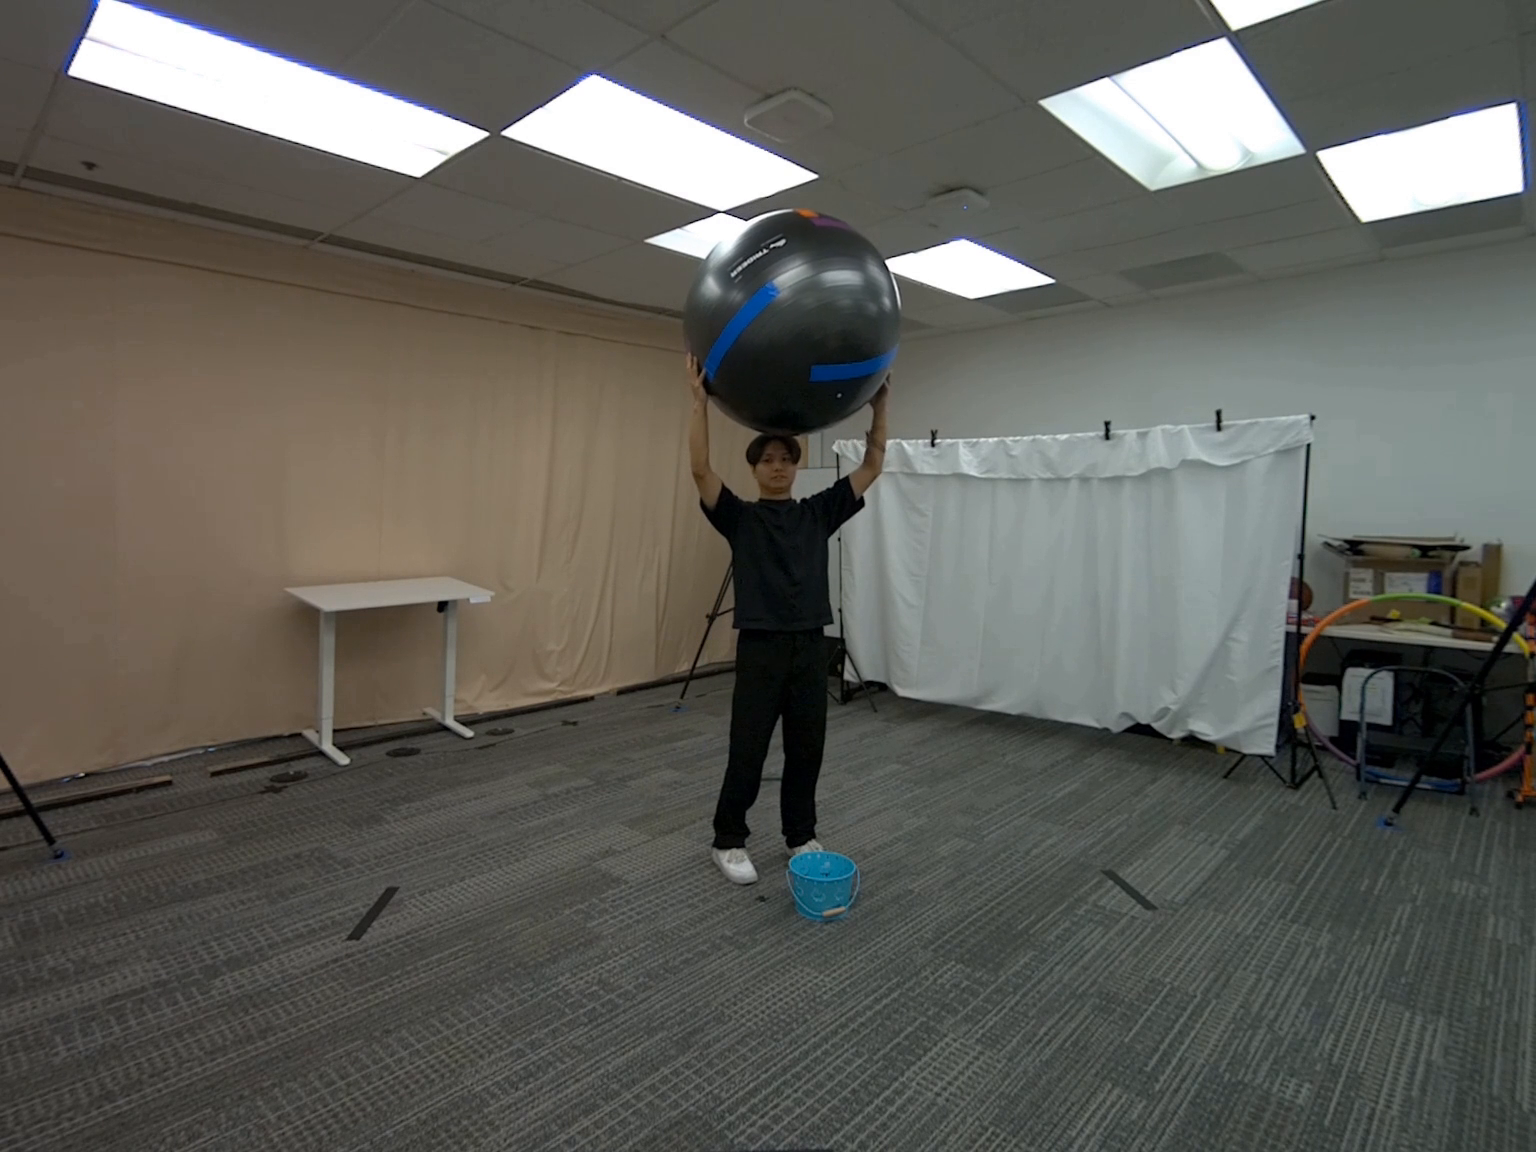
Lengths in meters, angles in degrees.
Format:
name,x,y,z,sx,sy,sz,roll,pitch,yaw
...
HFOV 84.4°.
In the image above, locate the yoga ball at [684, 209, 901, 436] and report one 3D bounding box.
name,x,y,z,sx,sy,sz,roll,pitch,yaw
yoga ball,0.083,-0.869,2.950,0.757,0.756,0.760,0,4,-2
